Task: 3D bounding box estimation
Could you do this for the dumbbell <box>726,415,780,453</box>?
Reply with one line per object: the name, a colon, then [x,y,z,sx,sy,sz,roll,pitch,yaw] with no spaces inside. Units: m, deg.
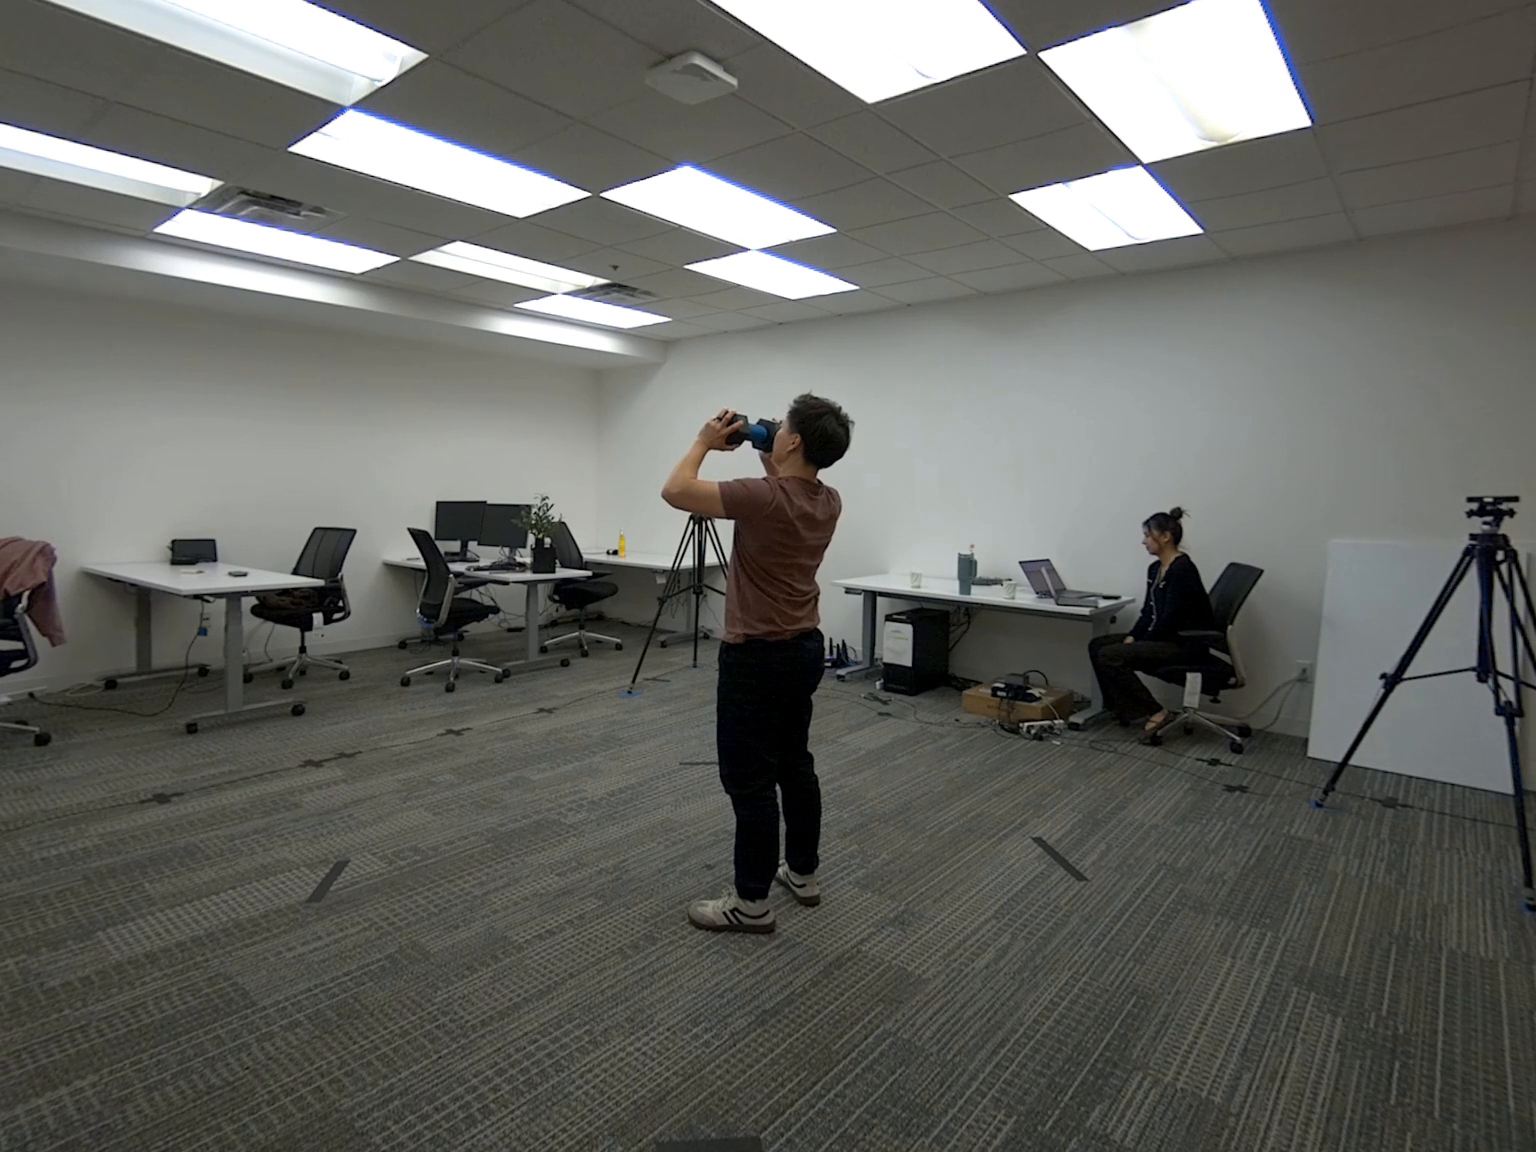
dumbbell: [-0.072,-0.496,2.852,0.123,0.112,0.284,-46,-25,27]
